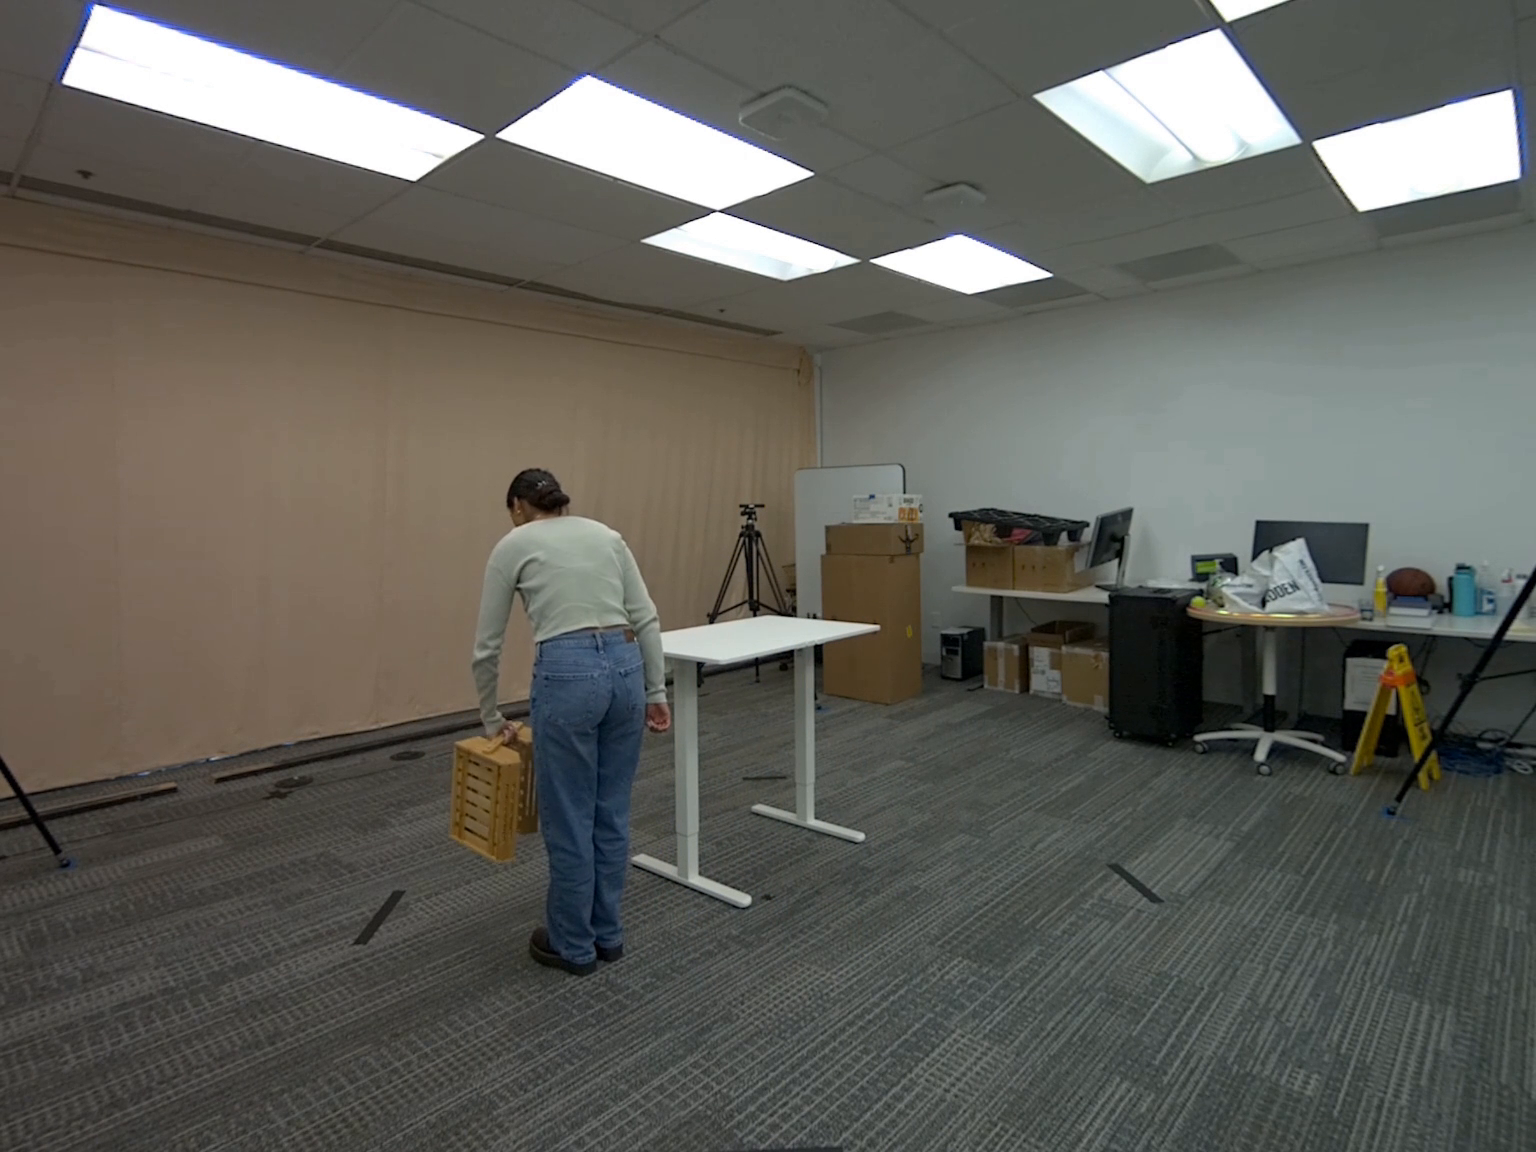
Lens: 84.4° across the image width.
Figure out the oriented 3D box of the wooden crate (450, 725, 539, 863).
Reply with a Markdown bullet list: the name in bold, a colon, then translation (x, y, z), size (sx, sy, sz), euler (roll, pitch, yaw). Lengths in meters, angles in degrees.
- **wooden crate**: translation (-0.807, 0.659, 2.607), size (0.312, 0.323, 0.265), euler (10, 8, 34)
